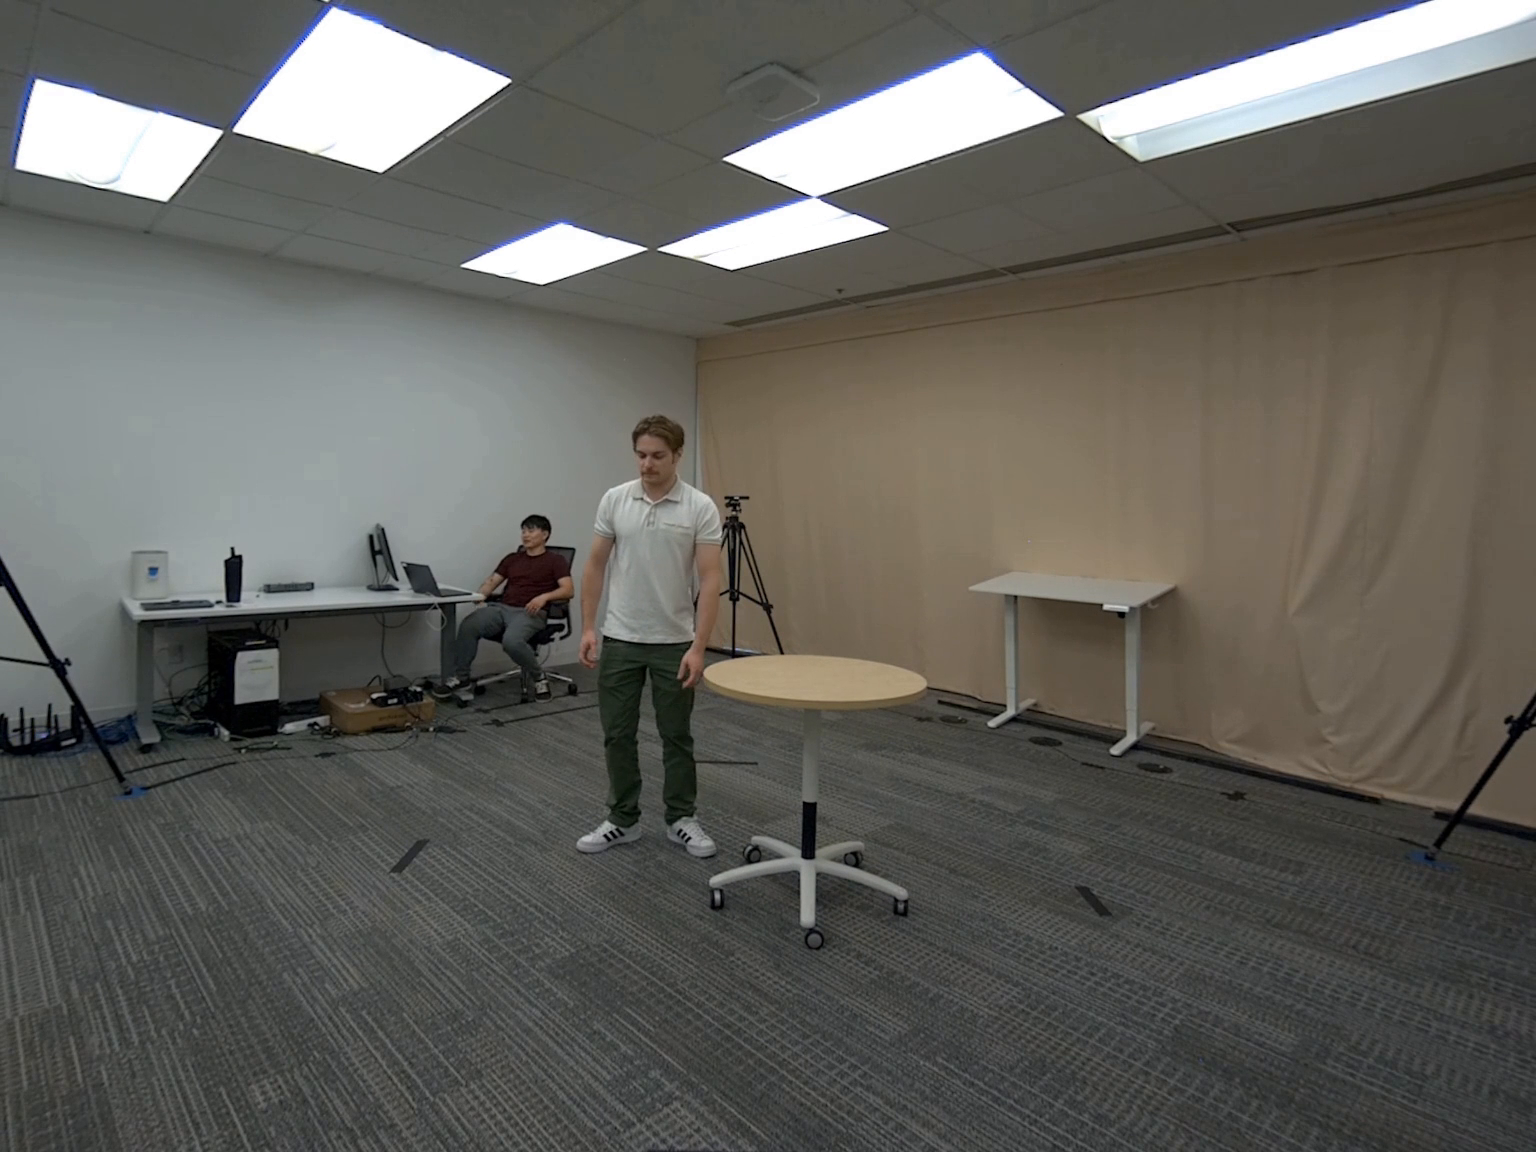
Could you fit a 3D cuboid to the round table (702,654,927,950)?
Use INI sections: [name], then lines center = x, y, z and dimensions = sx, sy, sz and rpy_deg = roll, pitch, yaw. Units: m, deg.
[round table]
center = 0.143, 0.737, 2.926
dimensions = 0.763, 0.792, 0.767
rpy_deg = 1, 4, -1
